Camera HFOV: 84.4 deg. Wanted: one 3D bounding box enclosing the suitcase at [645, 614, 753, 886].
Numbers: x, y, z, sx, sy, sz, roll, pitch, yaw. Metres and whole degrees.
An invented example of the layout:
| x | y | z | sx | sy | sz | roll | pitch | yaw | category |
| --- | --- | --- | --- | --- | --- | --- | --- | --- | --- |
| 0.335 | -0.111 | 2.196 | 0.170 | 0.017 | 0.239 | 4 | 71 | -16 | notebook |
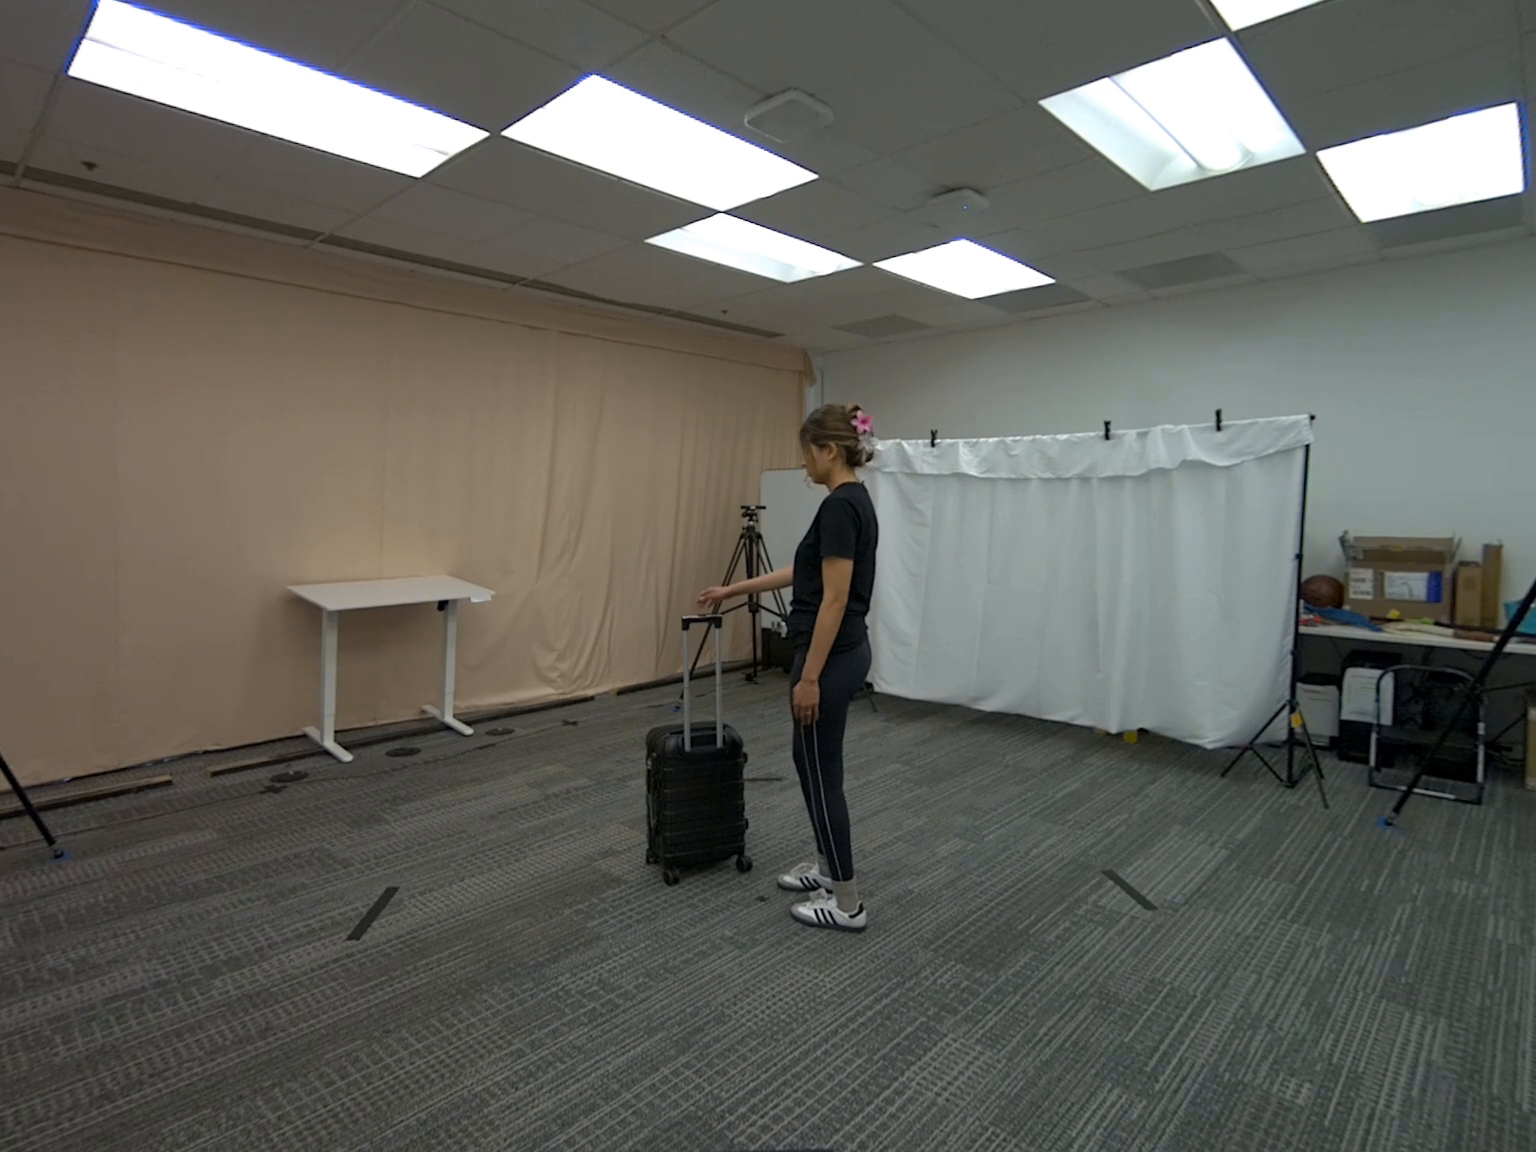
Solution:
| x | y | z | sx | sy | sz | roll | pitch | yaw | category |
| --- | --- | --- | --- | --- | --- | --- | --- | --- | --- |
| -0.288 | 0.641 | 3.260 | 0.377 | 0.978 | 0.262 | -1 | 0 | -19 | suitcase |
